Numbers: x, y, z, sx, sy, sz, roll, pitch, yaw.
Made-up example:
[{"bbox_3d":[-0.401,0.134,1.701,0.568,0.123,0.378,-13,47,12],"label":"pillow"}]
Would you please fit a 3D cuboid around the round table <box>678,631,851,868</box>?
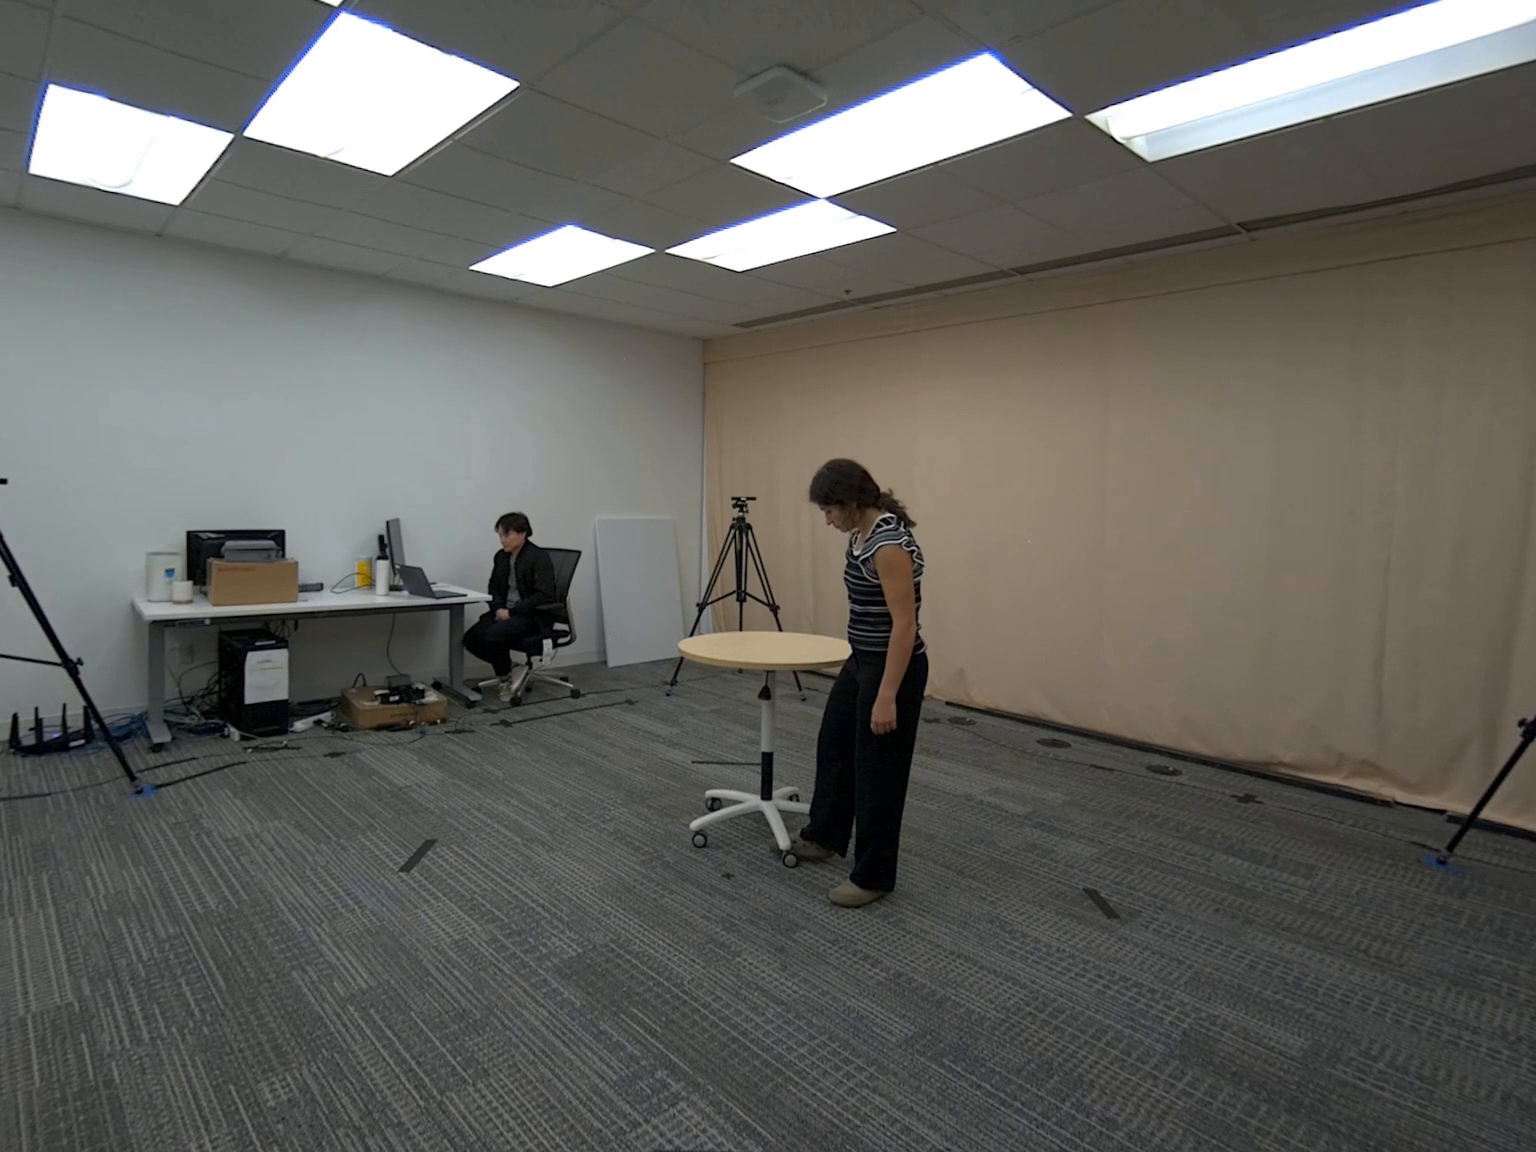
[{"bbox_3d":[0.002,0.680,3.522,0.784,0.784,0.788,1,4,-1],"label":"round table"}]
